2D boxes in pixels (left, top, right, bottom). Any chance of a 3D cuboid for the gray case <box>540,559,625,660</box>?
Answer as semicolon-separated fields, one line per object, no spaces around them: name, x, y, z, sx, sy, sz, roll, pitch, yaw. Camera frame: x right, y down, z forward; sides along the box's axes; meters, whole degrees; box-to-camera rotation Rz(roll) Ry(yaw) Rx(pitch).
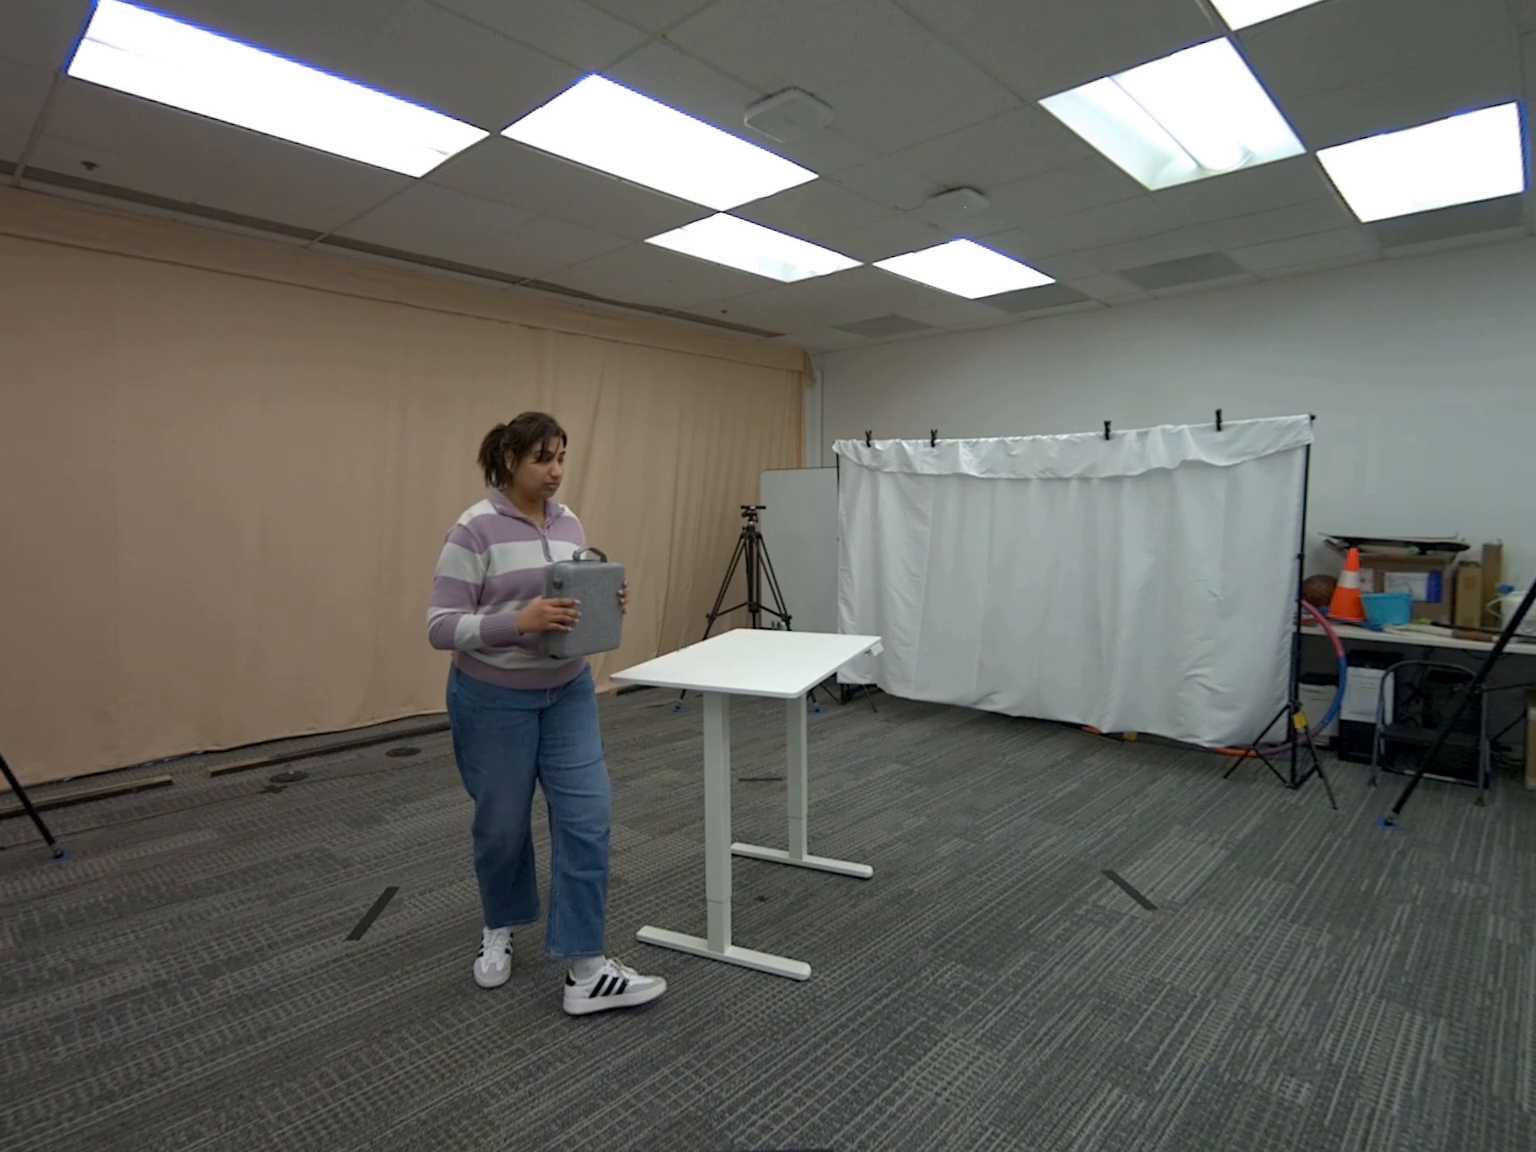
gray case;-0.500;0.086;2.271;0.107;0.260;0.251;6;5;22
